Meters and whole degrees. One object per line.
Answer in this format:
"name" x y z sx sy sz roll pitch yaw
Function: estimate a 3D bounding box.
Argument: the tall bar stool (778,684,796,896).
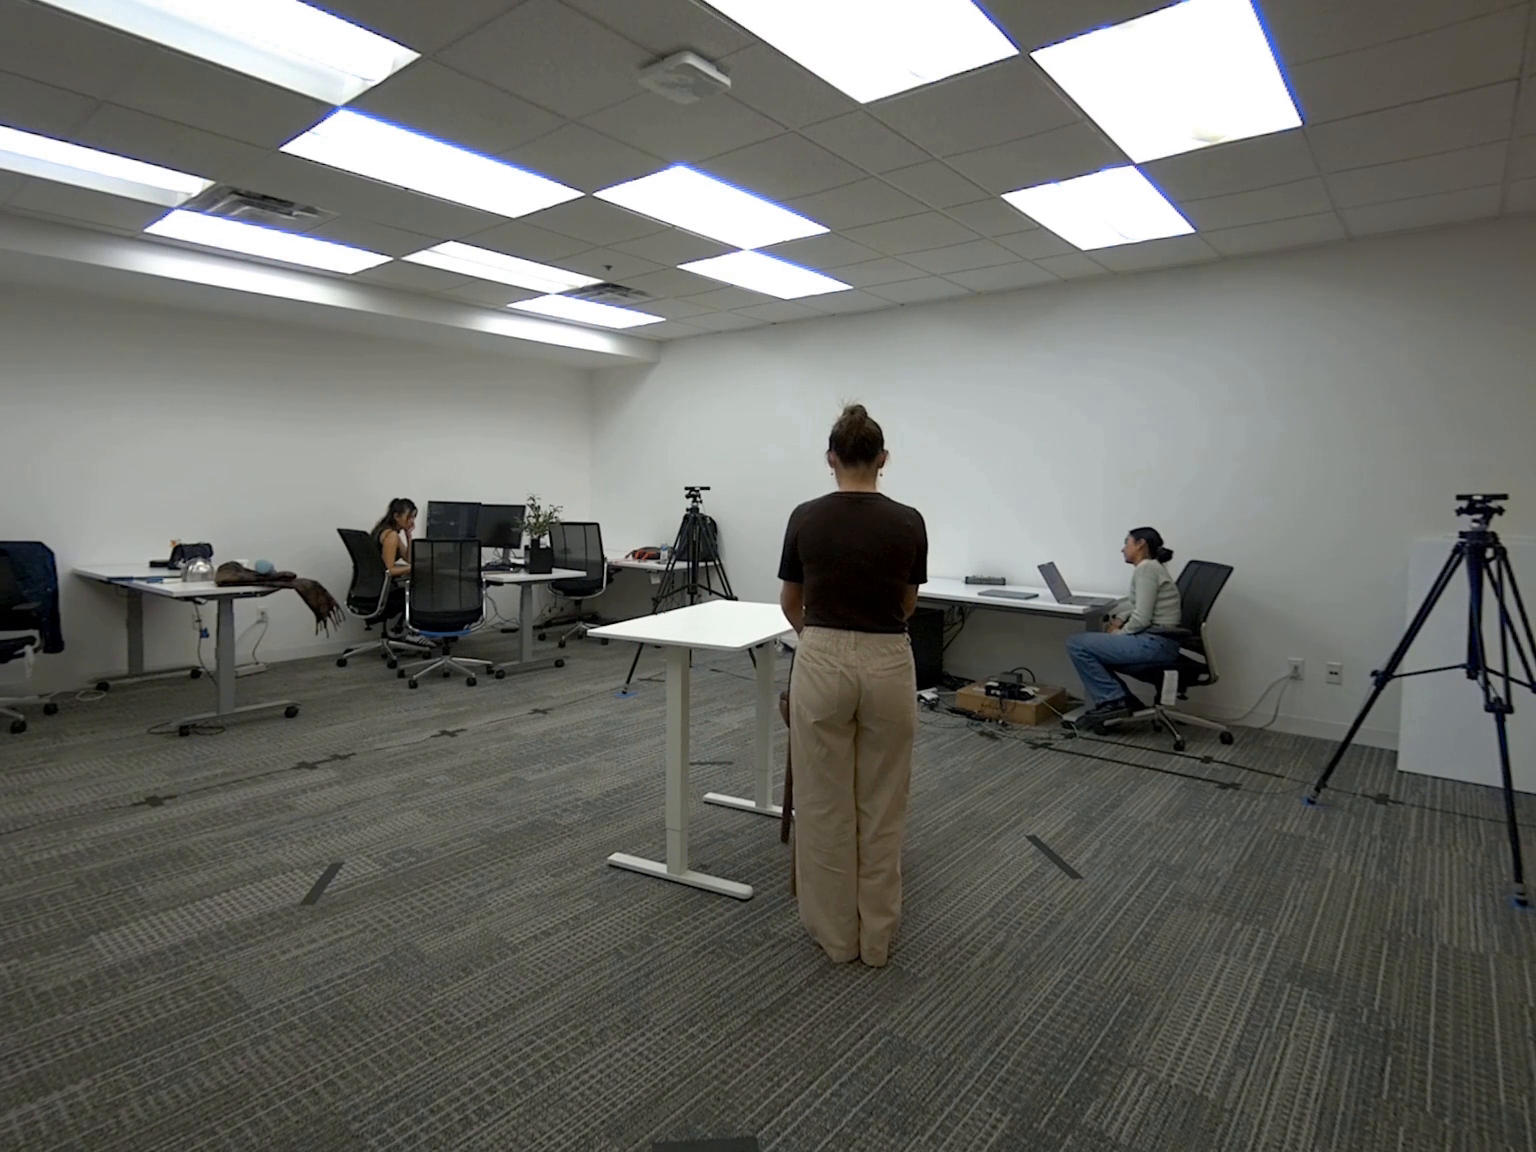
"tall bar stool" 0.262 0.629 3.097 0.458 0.885 0.469 1 5 1
